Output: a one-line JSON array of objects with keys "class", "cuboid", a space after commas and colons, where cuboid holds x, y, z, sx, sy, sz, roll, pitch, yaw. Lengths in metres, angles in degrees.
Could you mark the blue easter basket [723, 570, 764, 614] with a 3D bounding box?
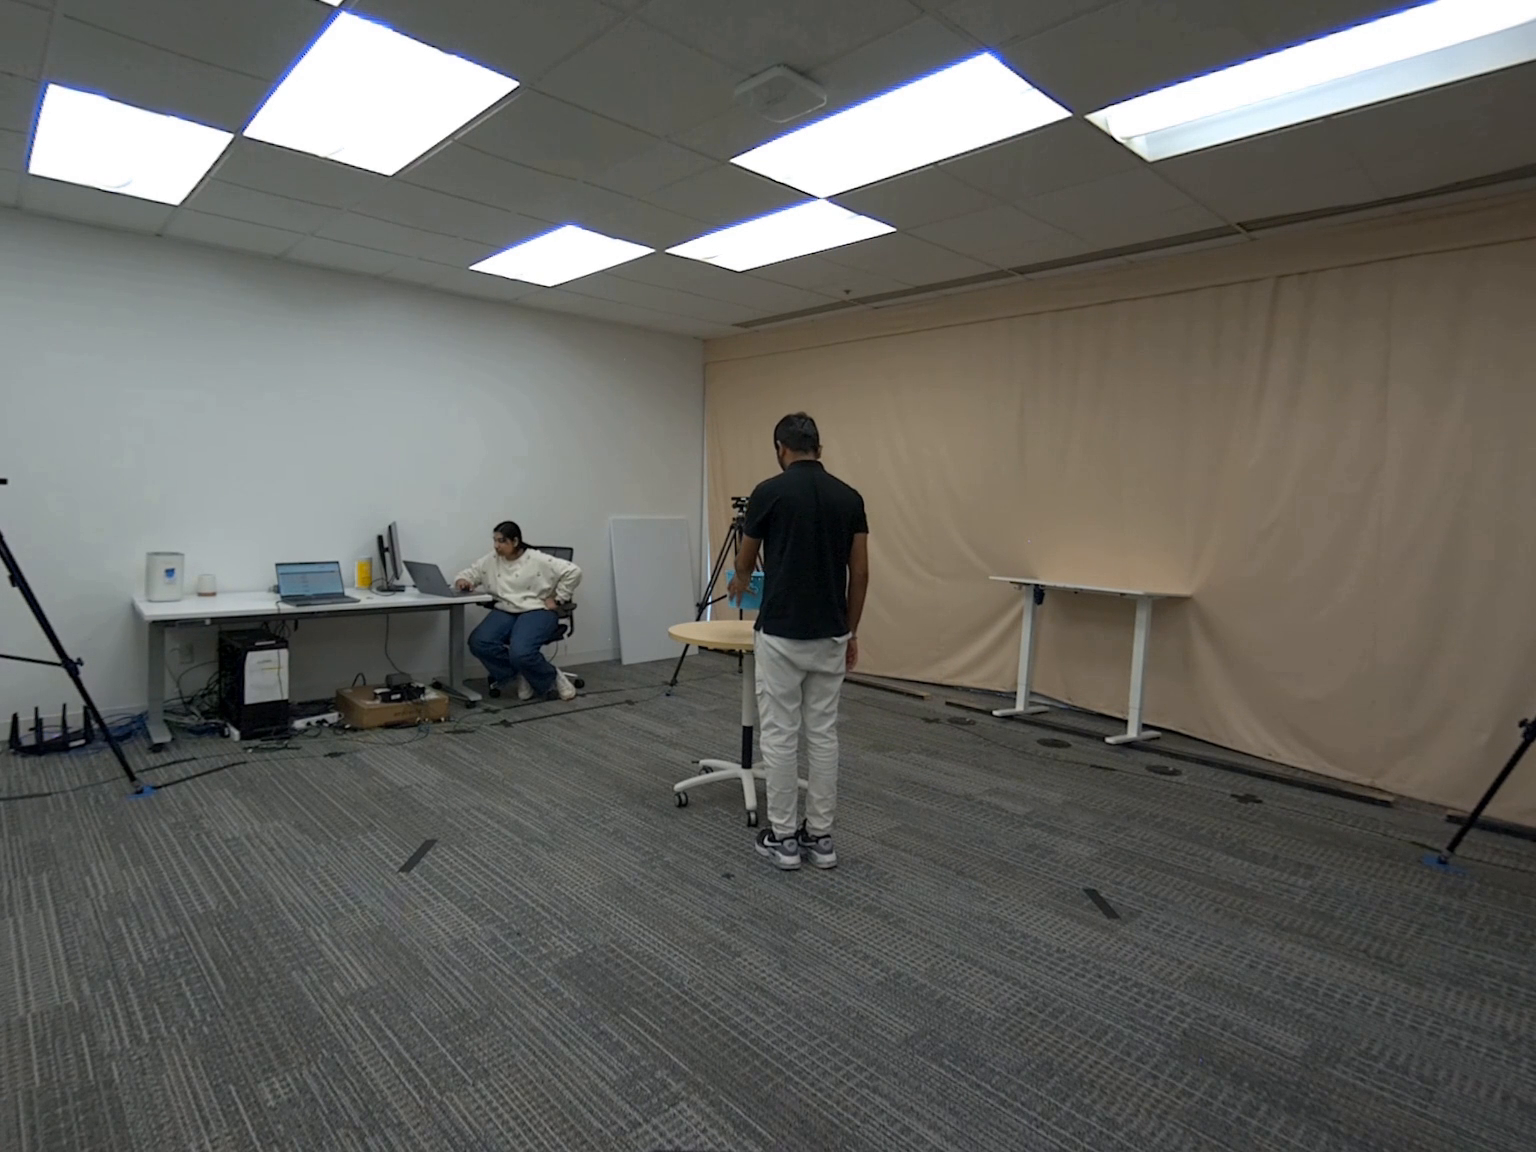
[{"class": "blue easter basket", "cuboid": [-0.074, 0.067, 3.757, 0.243, 0.155, 0.244, 3, 5, -2]}]
